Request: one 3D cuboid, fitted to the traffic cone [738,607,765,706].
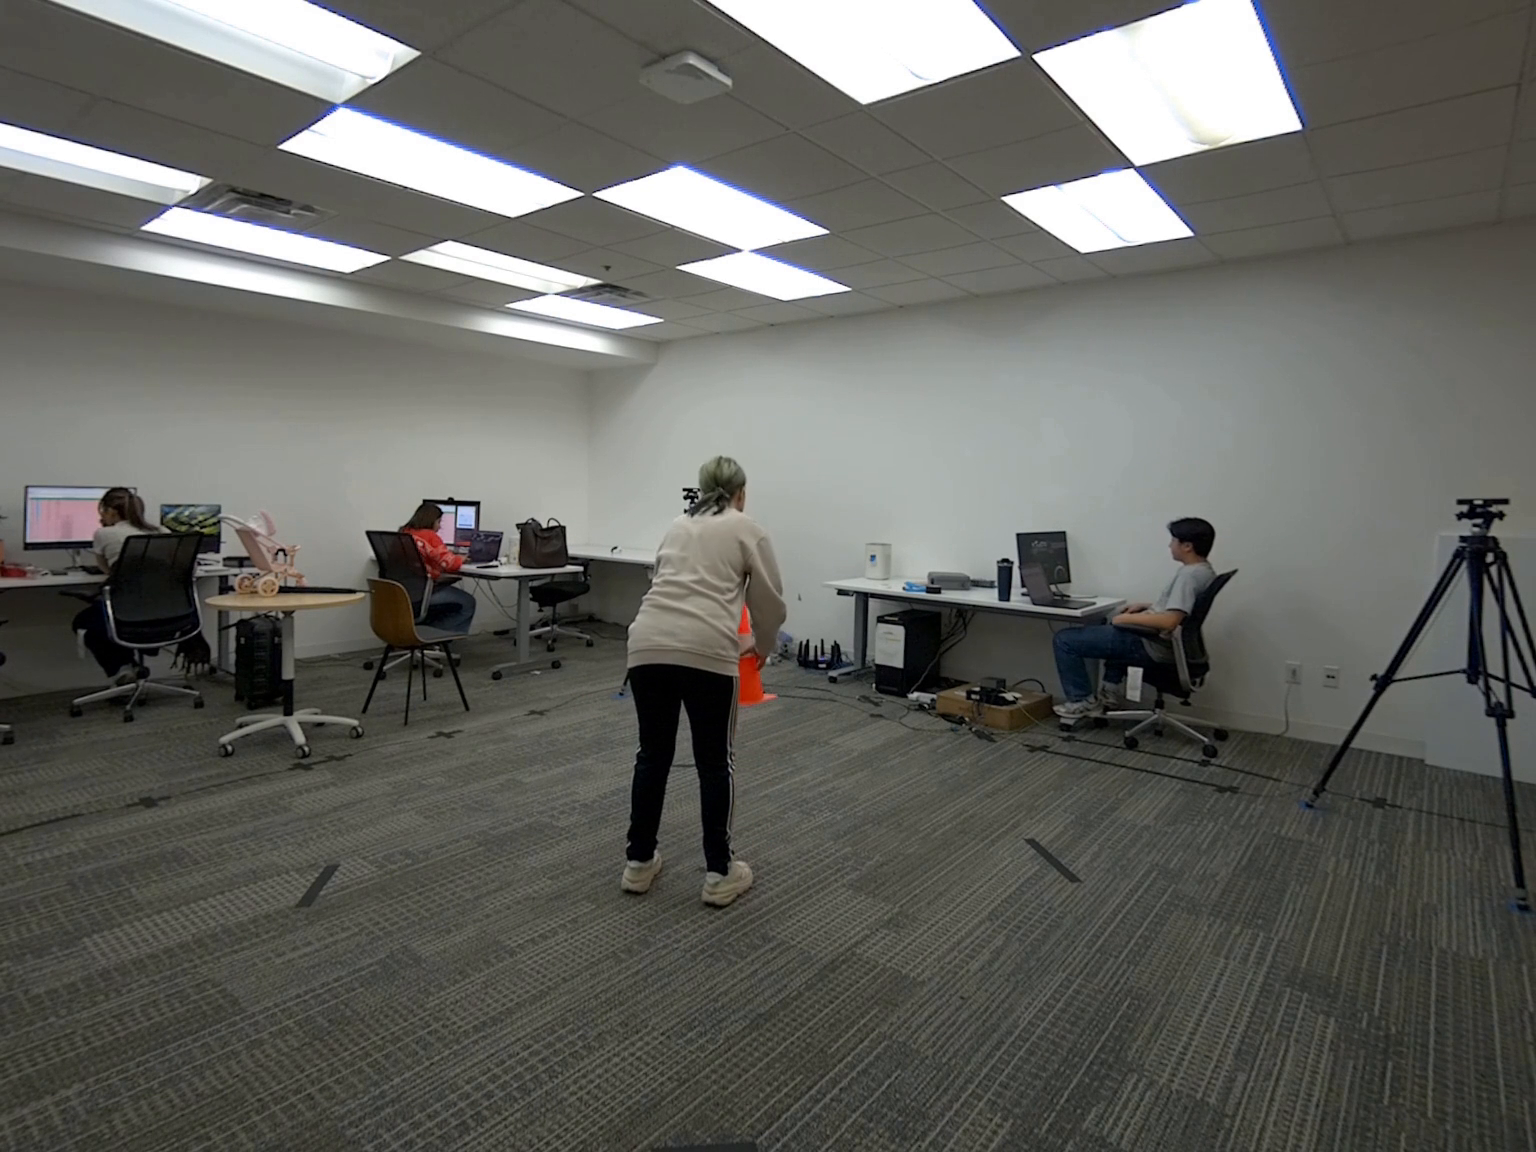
[{"bbox_3d":[-0.111,0.292,3.323,0.212,0.382,0.197,3,7,44],"label":"traffic cone"}]
